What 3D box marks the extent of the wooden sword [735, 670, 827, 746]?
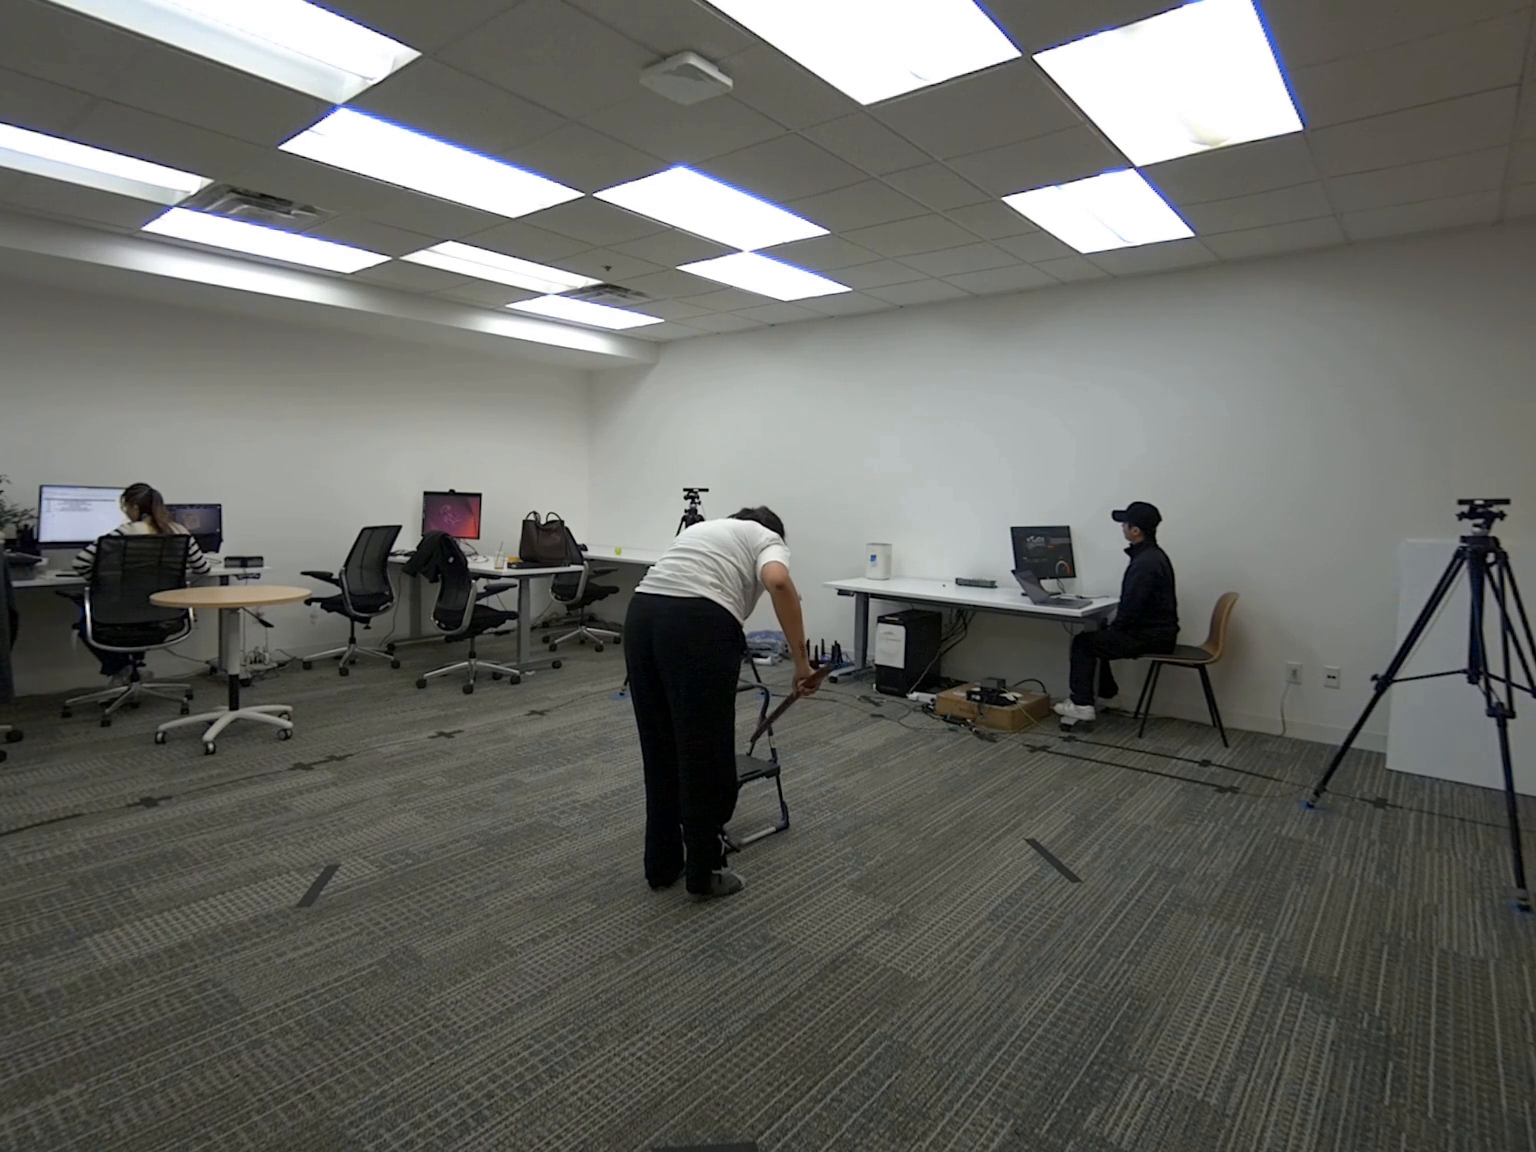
[{"bbox_3d":[0.018,0.490,2.999,0.050,0.024,1.017,4,-23,-15],"label":"wooden sword"}]
